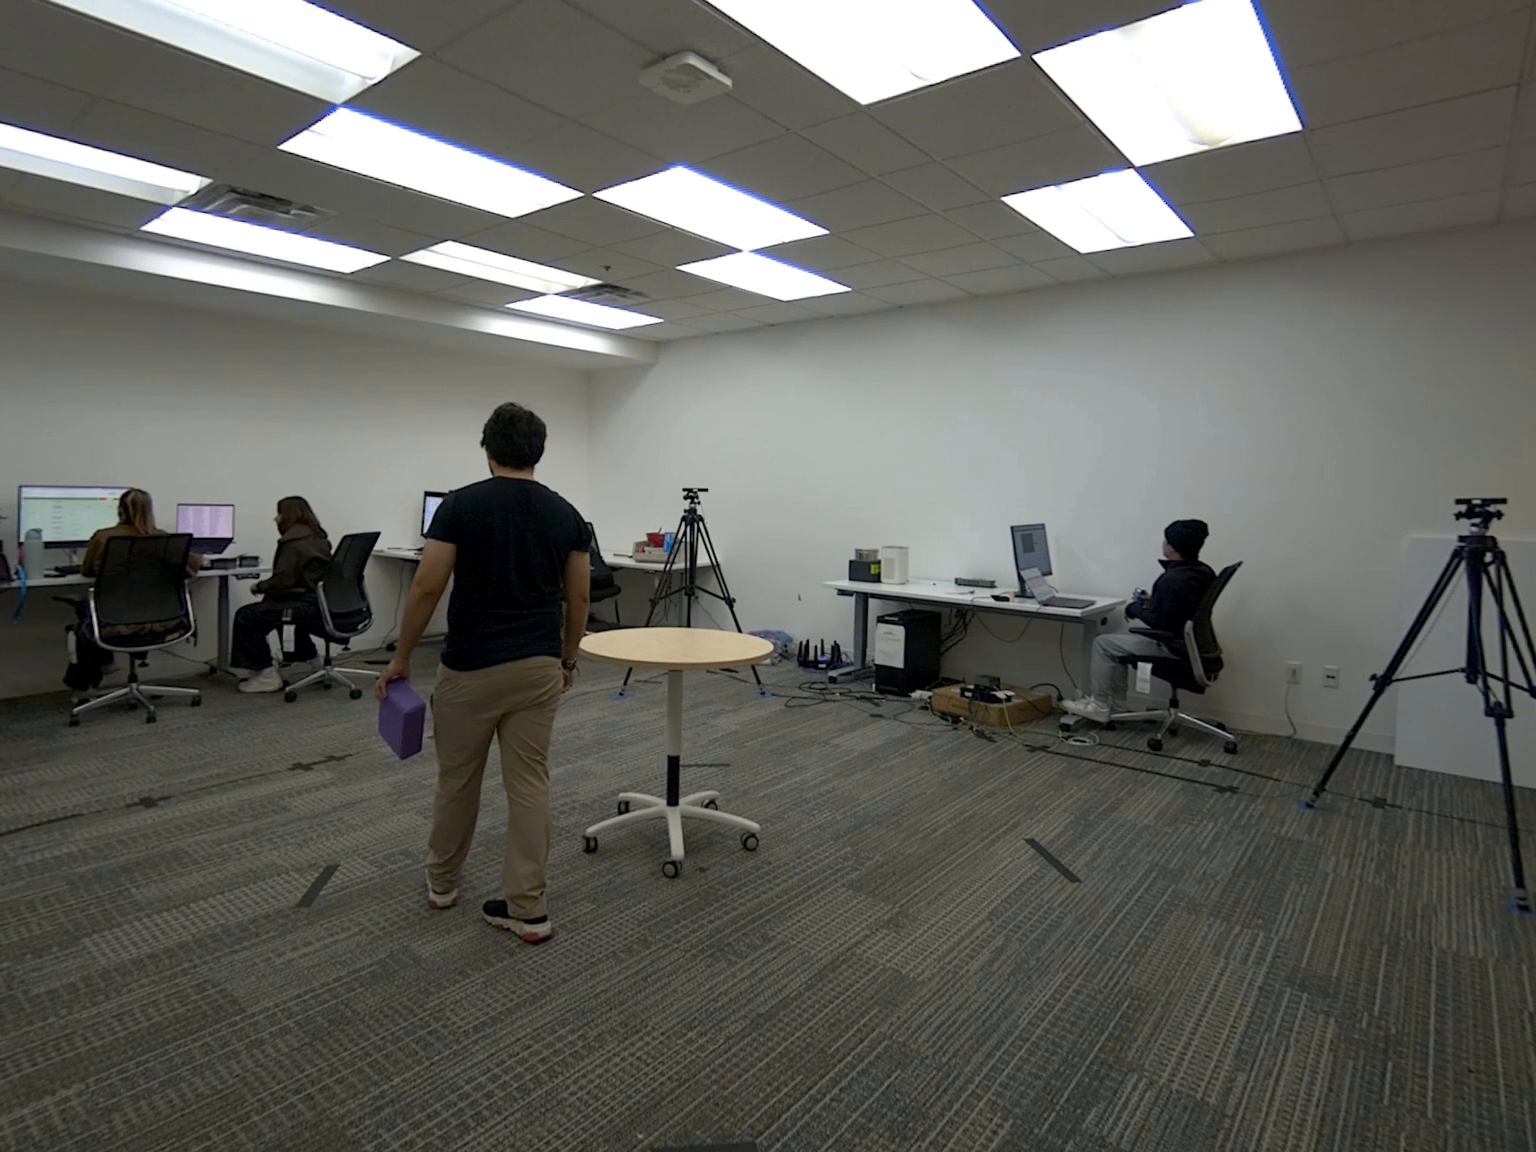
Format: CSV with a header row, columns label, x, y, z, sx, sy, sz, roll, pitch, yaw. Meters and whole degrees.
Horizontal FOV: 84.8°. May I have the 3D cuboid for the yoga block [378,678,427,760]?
label,x,y,z,sx,sy,sz,roll,pitch,yaw
yoga block,-1.165,0.443,2.673,0.154,0.226,0.075,37,36,24
